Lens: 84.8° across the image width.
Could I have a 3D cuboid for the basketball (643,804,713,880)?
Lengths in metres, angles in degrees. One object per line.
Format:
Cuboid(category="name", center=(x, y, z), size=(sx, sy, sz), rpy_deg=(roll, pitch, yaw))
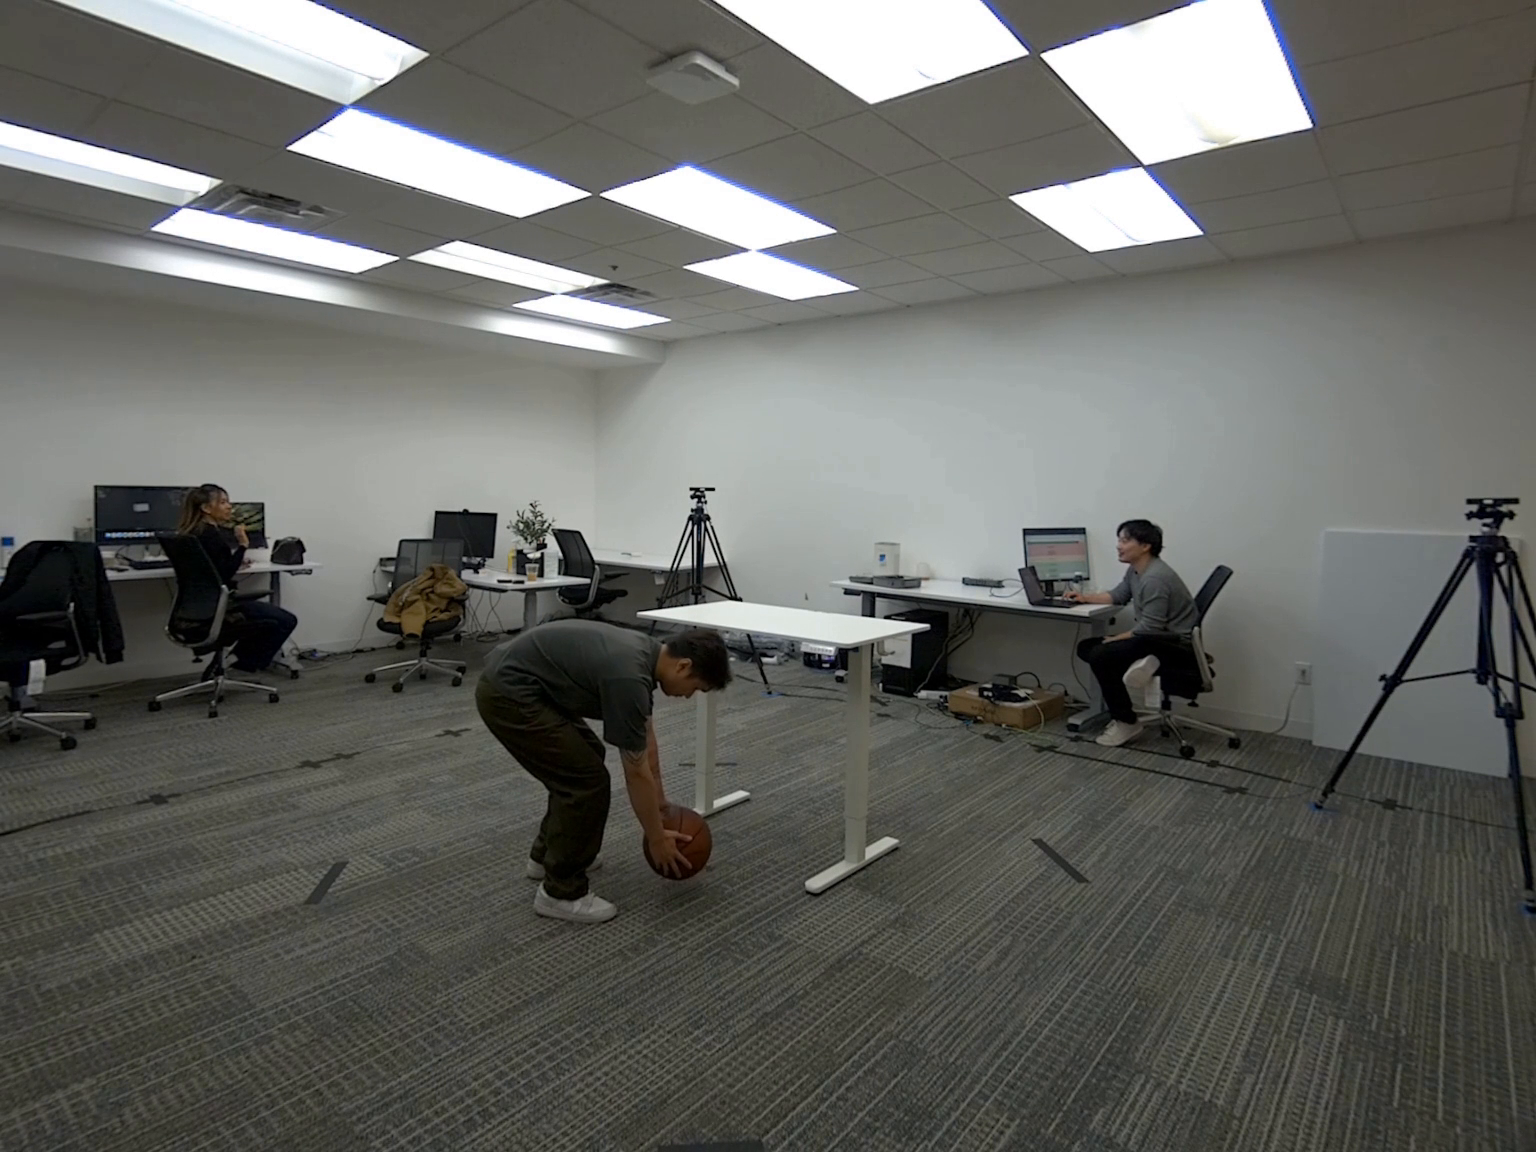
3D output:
Cuboid(category="basketball", center=(-0.317, 0.916, 2.925), size=(0.235, 0.235, 0.237), rpy_deg=(1, 4, -2))
